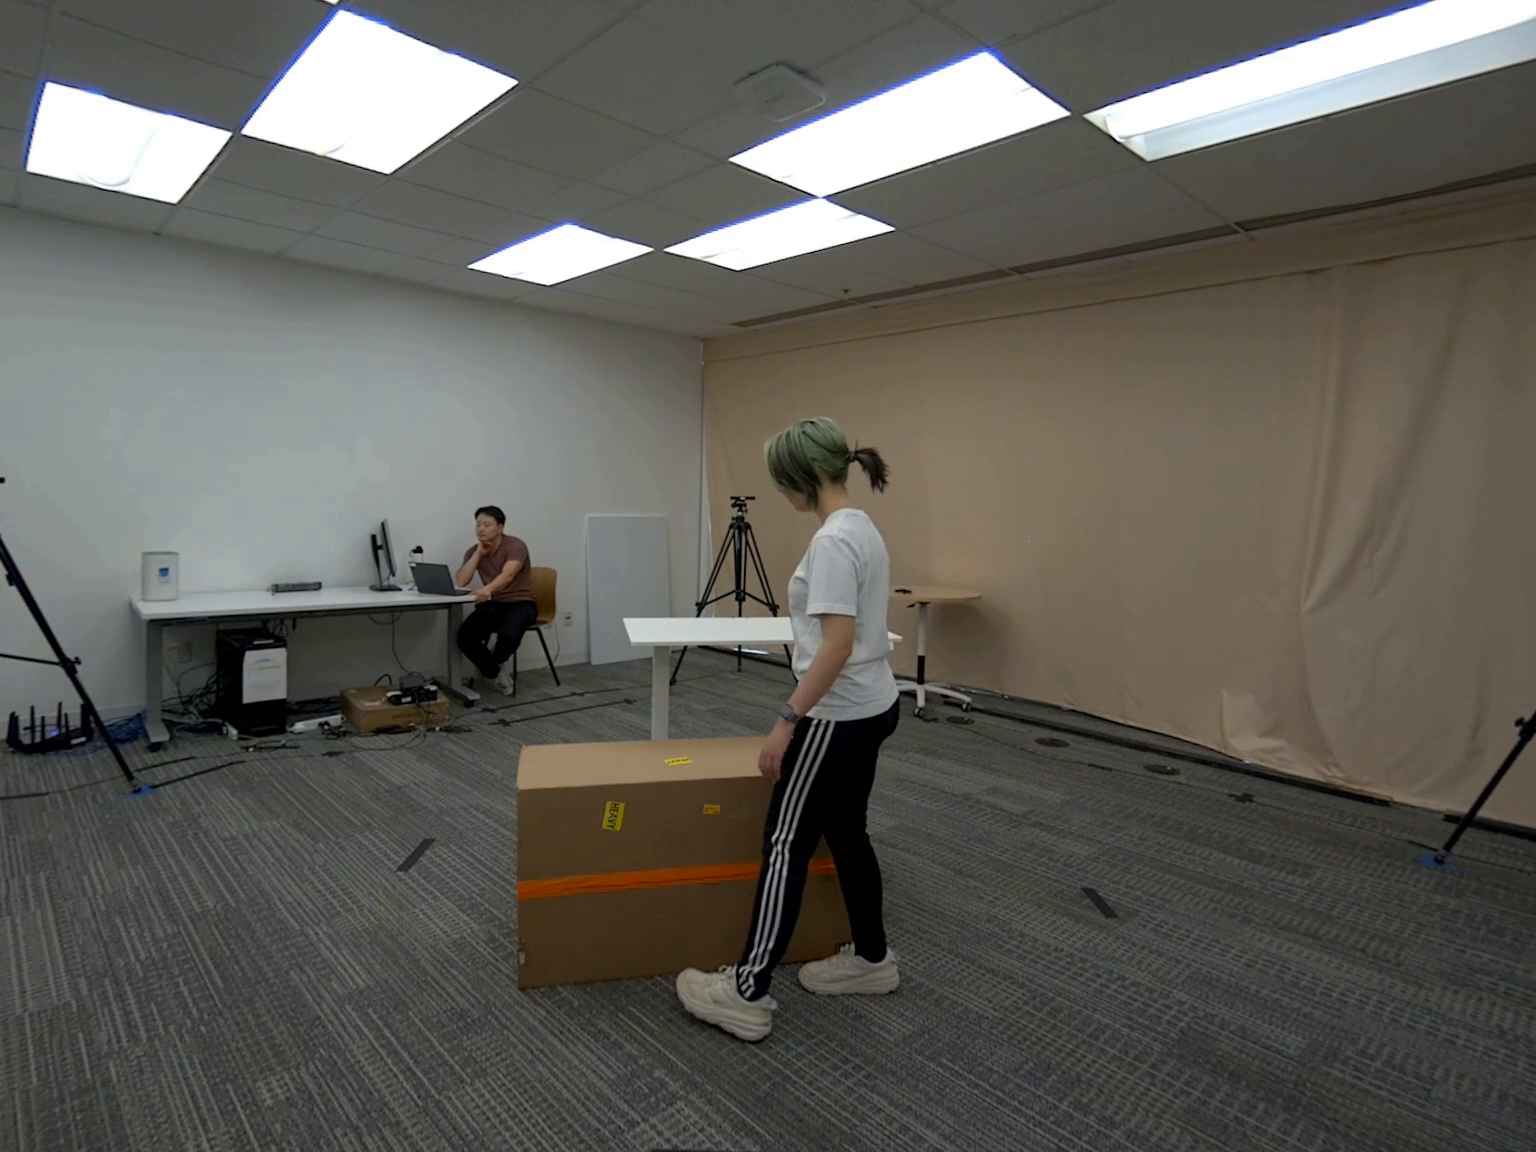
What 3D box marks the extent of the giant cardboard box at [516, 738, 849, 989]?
[{"bbox_3d":[-0.267,0.854,2.648,1.016,0.582,0.452,0,4,-13],"label":"giant cardboard box"}]
